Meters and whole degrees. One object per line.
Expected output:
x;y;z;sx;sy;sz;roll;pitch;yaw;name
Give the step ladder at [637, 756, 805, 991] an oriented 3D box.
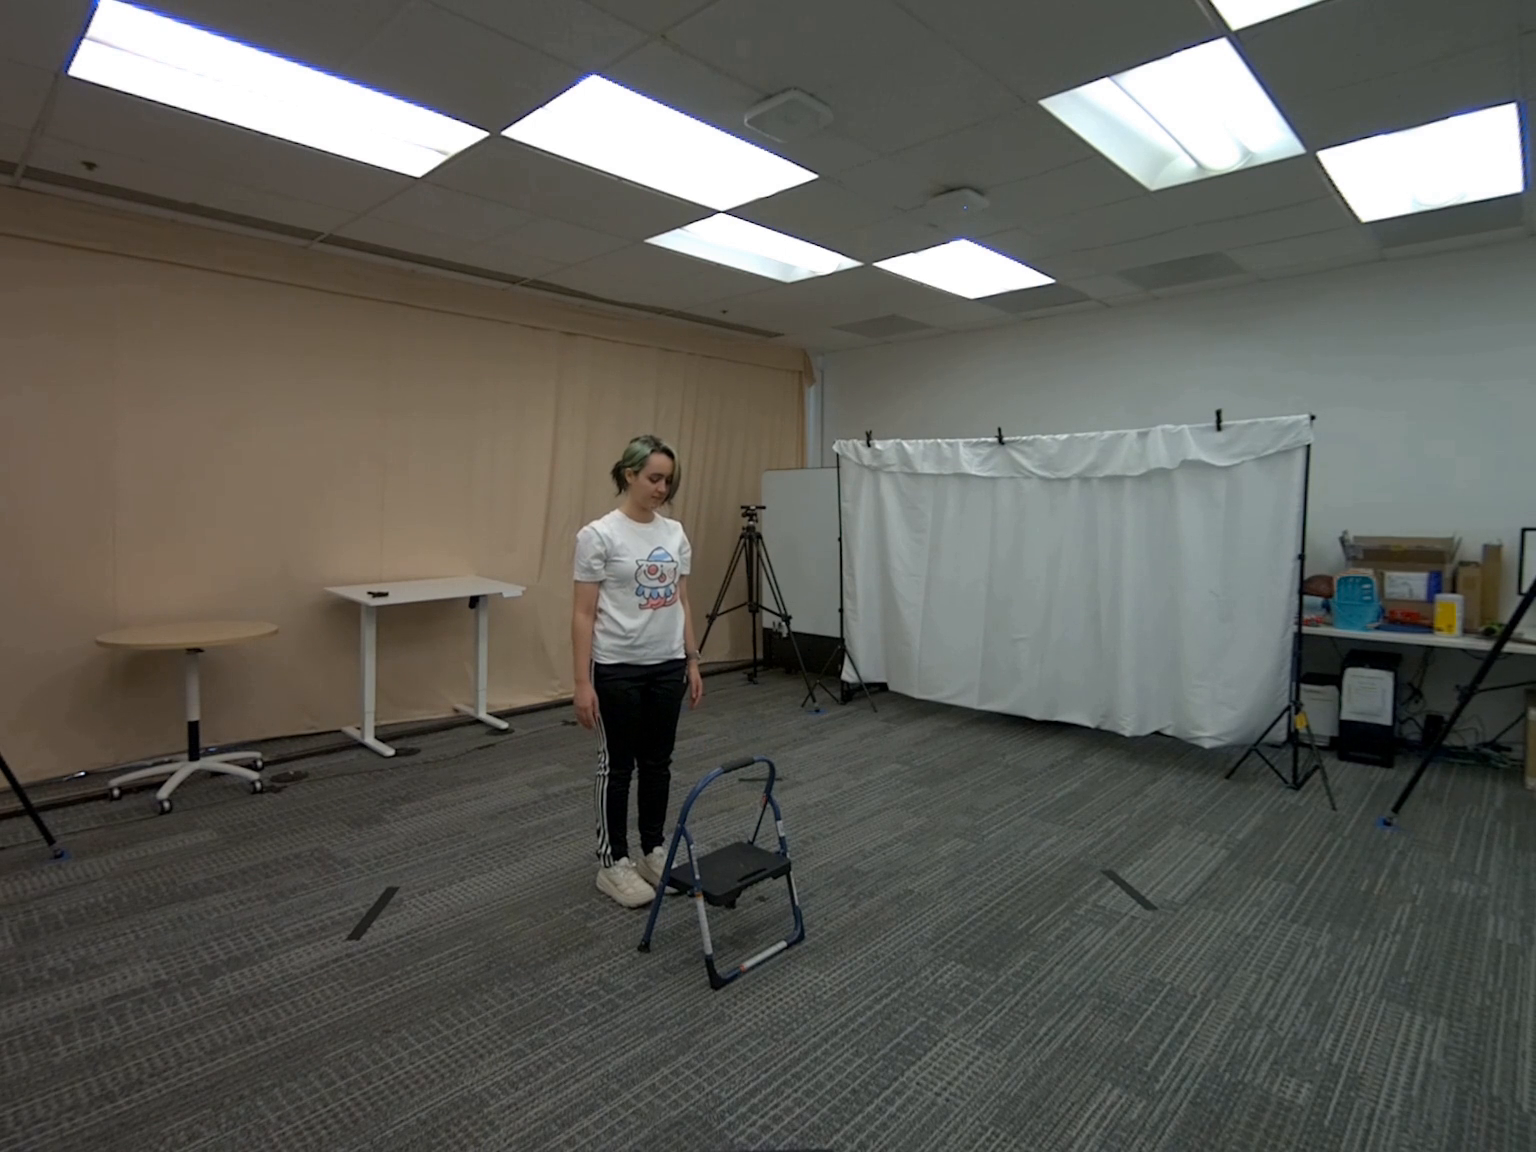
-0.141;0.869;2.665;0.361;0.605;0.417;2;4;42;step ladder
